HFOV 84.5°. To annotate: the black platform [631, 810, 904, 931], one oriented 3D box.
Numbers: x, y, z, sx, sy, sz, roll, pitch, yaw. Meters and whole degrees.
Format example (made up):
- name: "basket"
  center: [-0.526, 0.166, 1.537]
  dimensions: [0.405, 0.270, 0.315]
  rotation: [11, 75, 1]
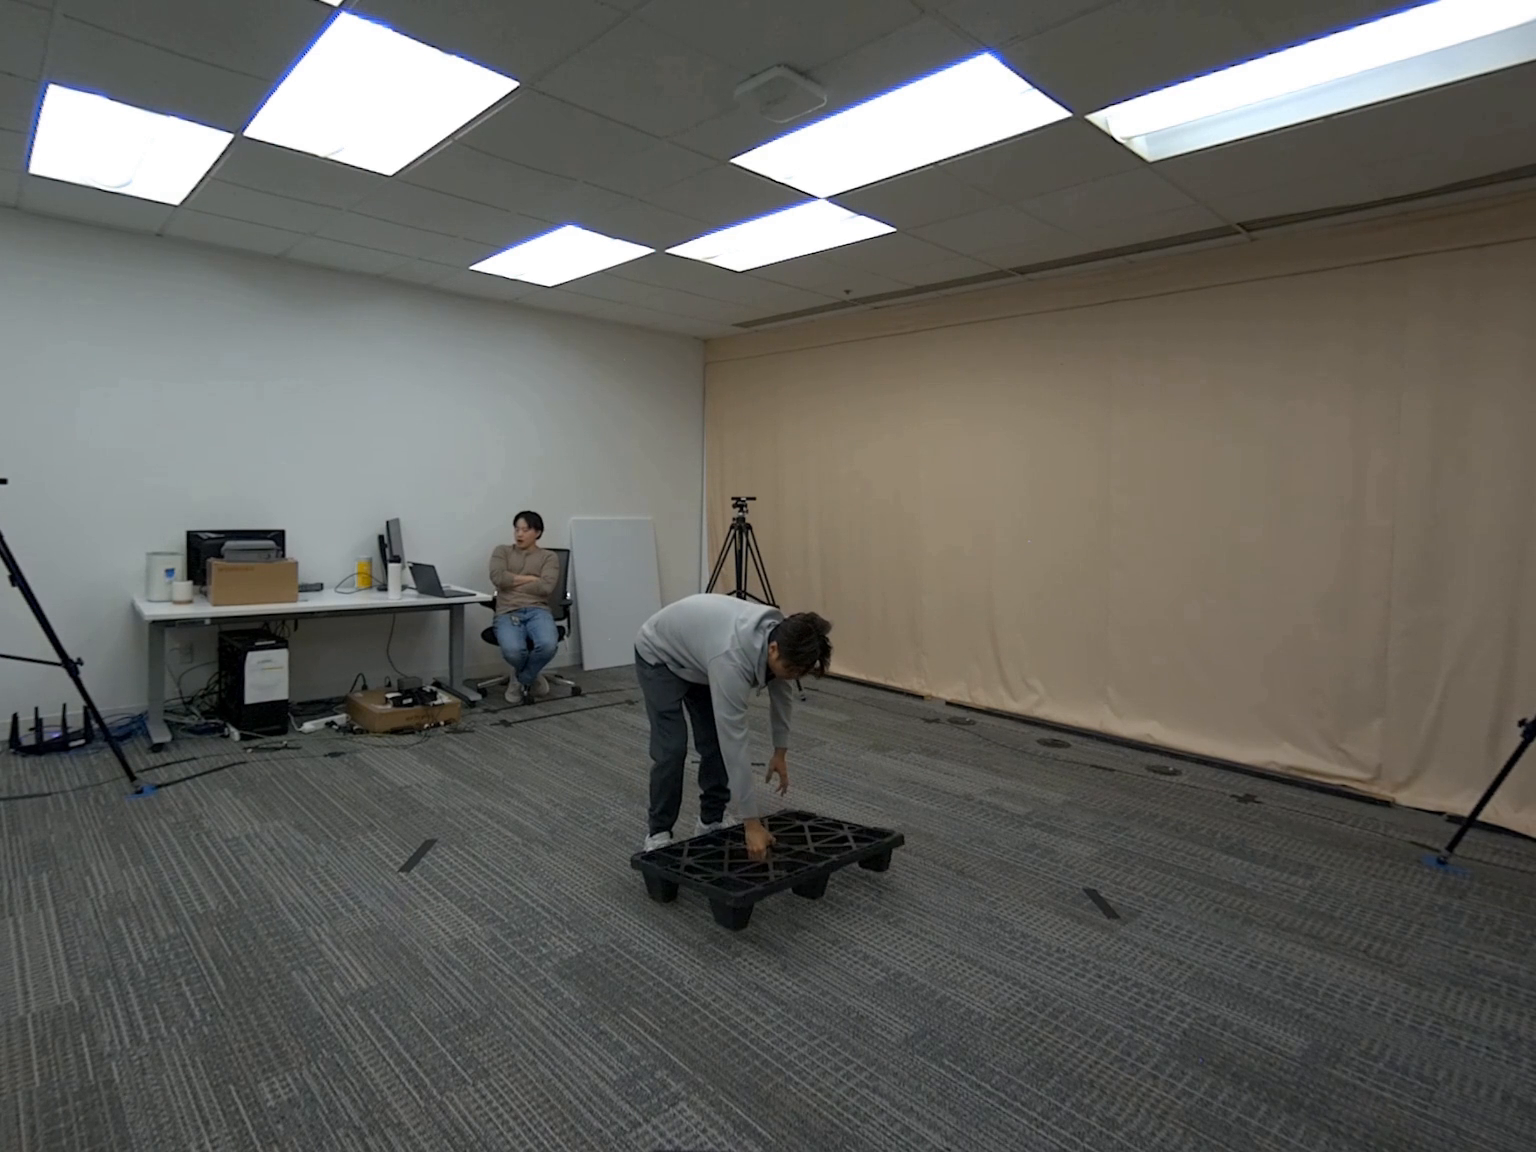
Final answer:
- name: "black platform"
  center: [-0.002, 1.023, 2.983]
  dimensions: [0.787, 0.143, 0.617]
  rotation: [-3, -2, -41]
